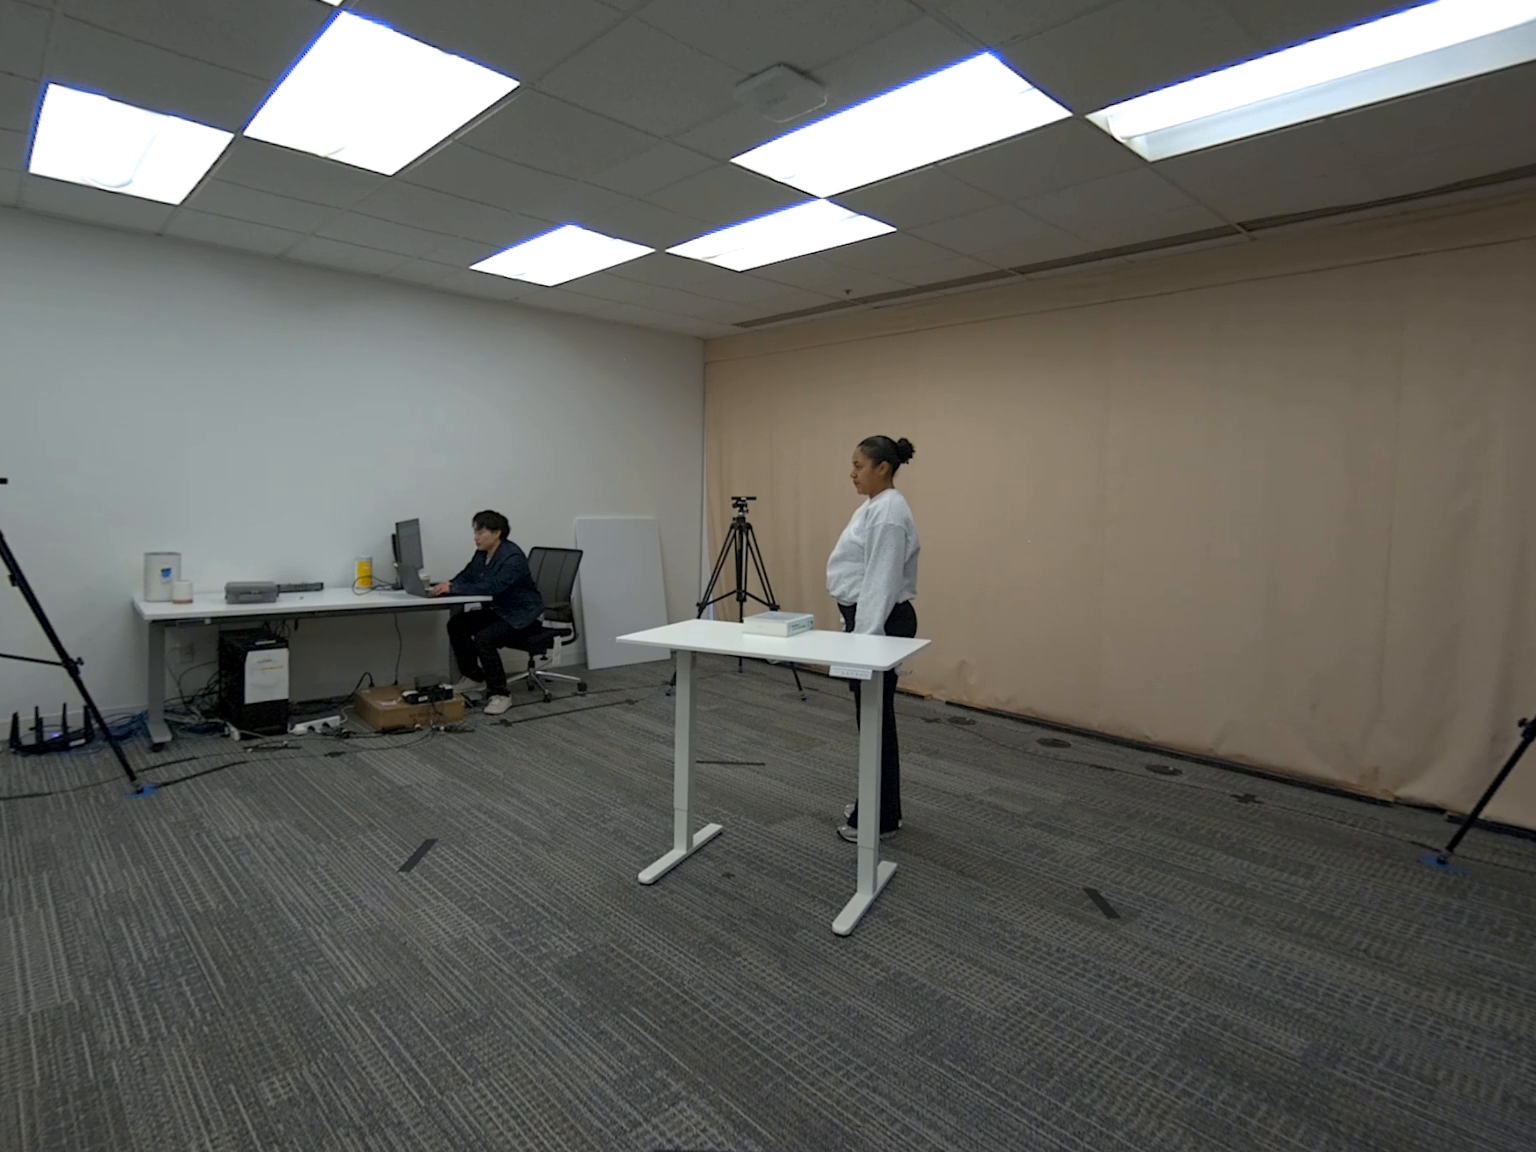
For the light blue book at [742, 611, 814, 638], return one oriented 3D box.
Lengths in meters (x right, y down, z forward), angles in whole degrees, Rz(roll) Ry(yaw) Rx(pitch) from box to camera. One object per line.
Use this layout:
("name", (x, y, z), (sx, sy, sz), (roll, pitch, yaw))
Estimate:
("light blue book", (0.037, 0.183, 3.273), (0.195, 0.059, 0.256), (4, 5, 27))
